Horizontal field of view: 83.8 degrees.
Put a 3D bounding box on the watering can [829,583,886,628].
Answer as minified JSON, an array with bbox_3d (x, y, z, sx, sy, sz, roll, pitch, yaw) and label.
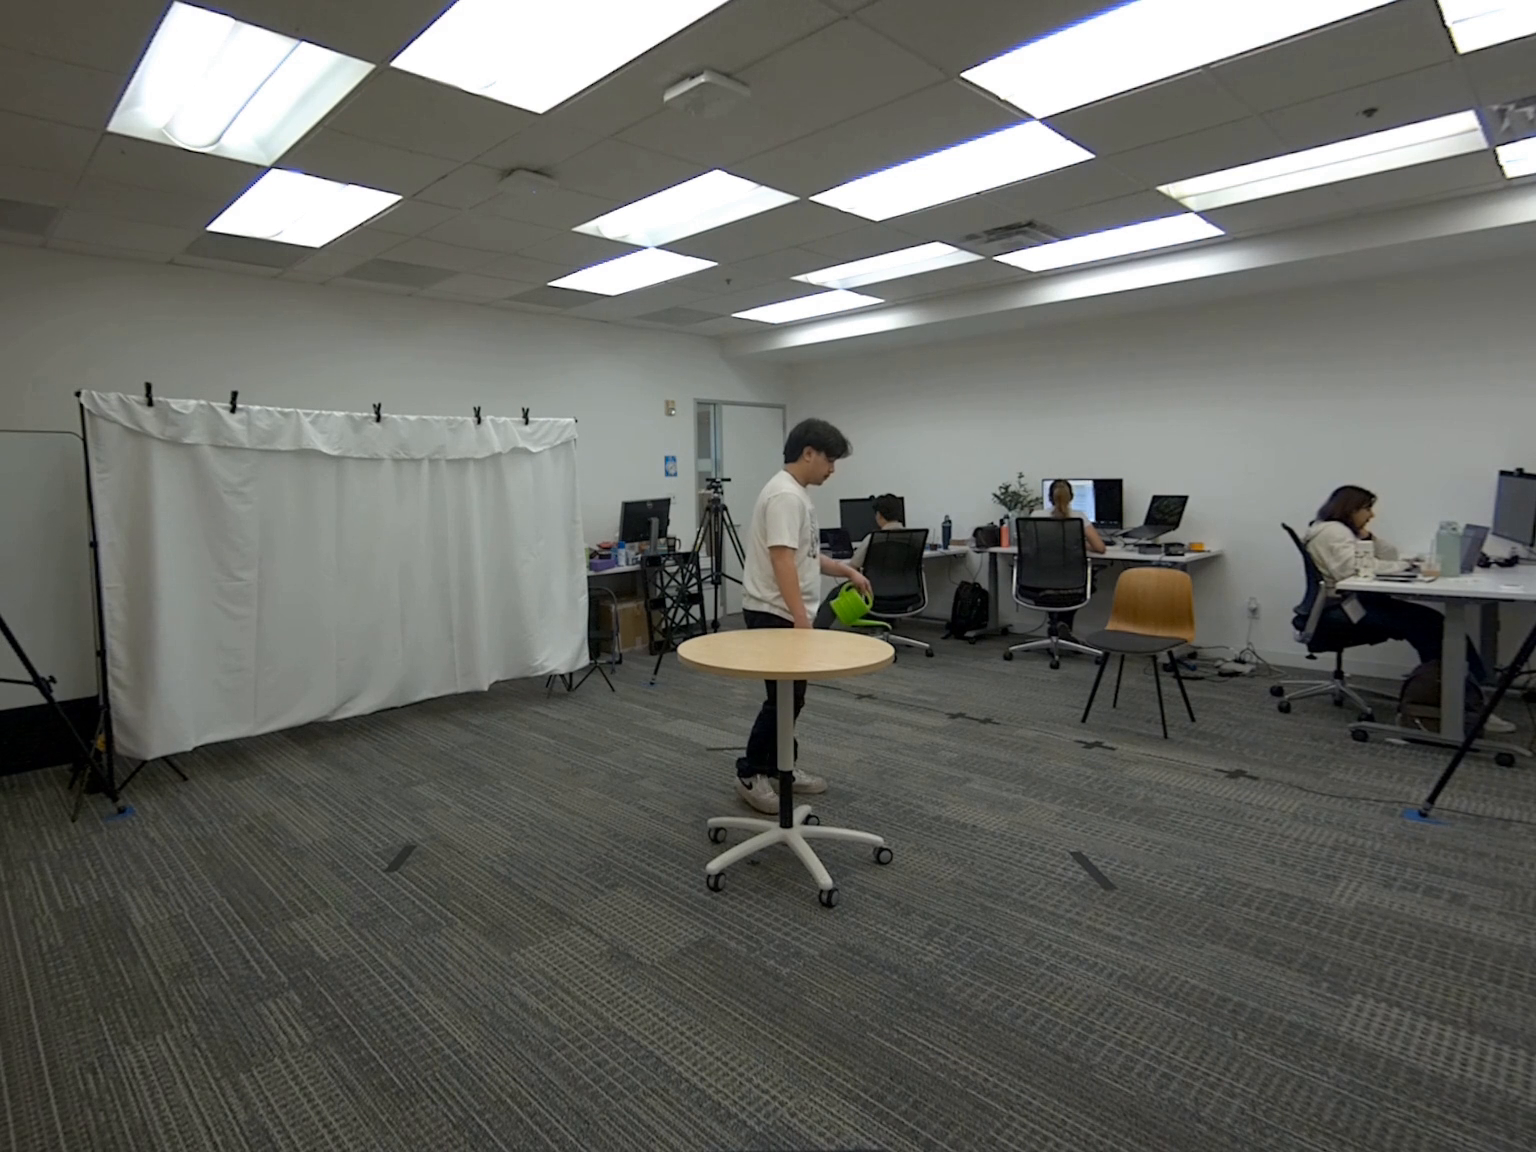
[{"bbox_3d":[0.404,0.166,3.886,0.177,0.282,0.096,-34,-9,8],"label":"watering can"}]
